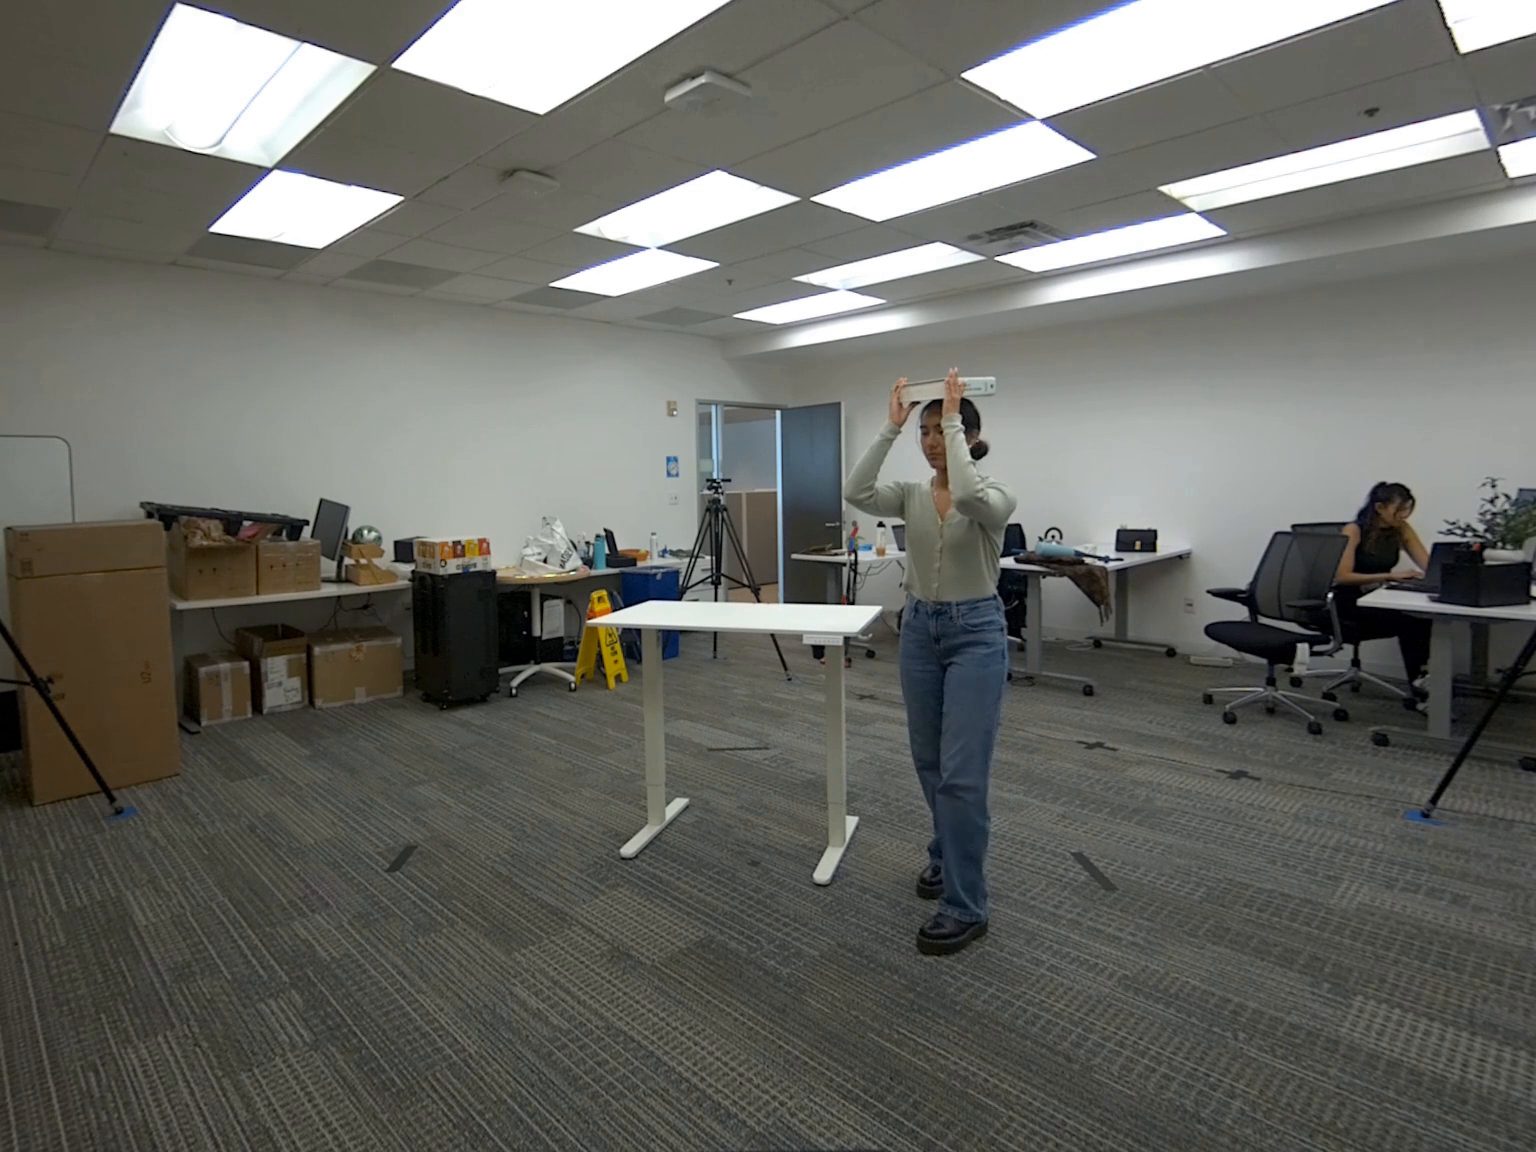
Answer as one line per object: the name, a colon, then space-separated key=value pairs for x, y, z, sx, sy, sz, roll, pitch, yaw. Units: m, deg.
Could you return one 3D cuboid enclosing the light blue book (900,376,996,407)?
light blue book: x=0.566 y=-0.585 z=2.674 sx=0.255 sy=0.058 sz=0.197 roll=-13 pitch=12 yaw=-43
